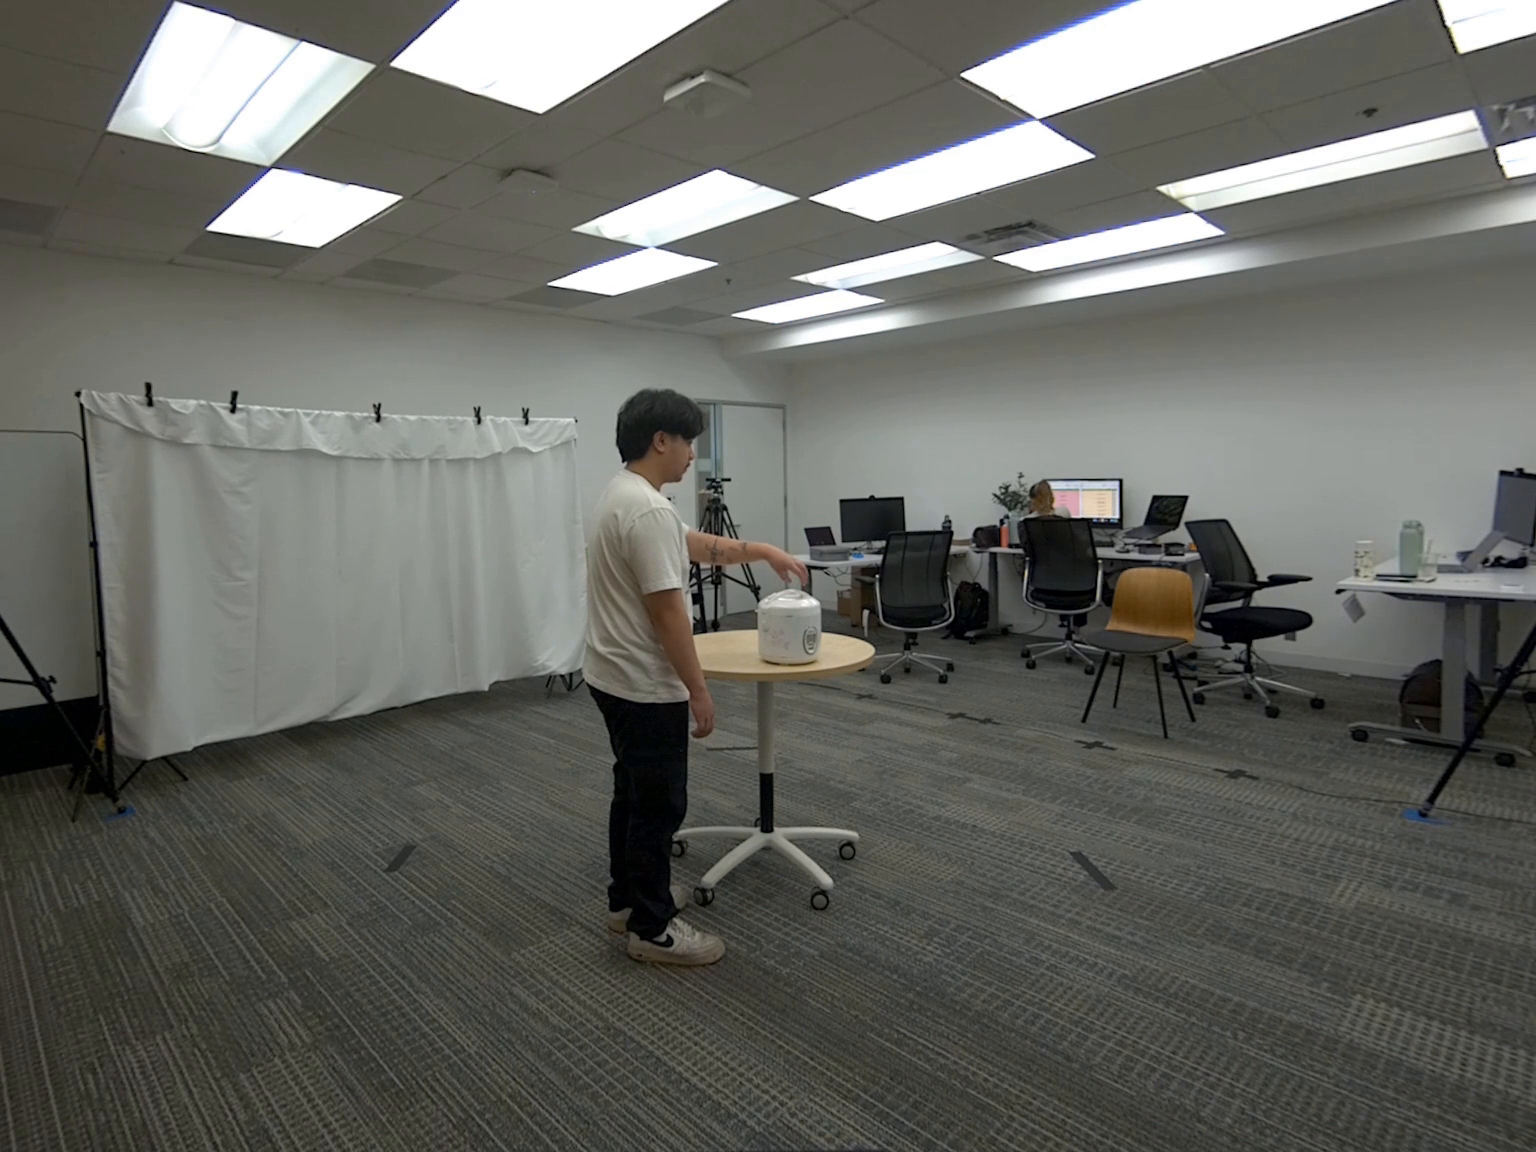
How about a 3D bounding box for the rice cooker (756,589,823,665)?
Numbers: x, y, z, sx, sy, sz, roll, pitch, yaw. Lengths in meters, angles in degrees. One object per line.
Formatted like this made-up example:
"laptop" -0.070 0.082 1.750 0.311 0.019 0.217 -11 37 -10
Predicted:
"rice cooker" 0.075 0.162 2.803 0.215 0.232 0.224 -4 5 -36
